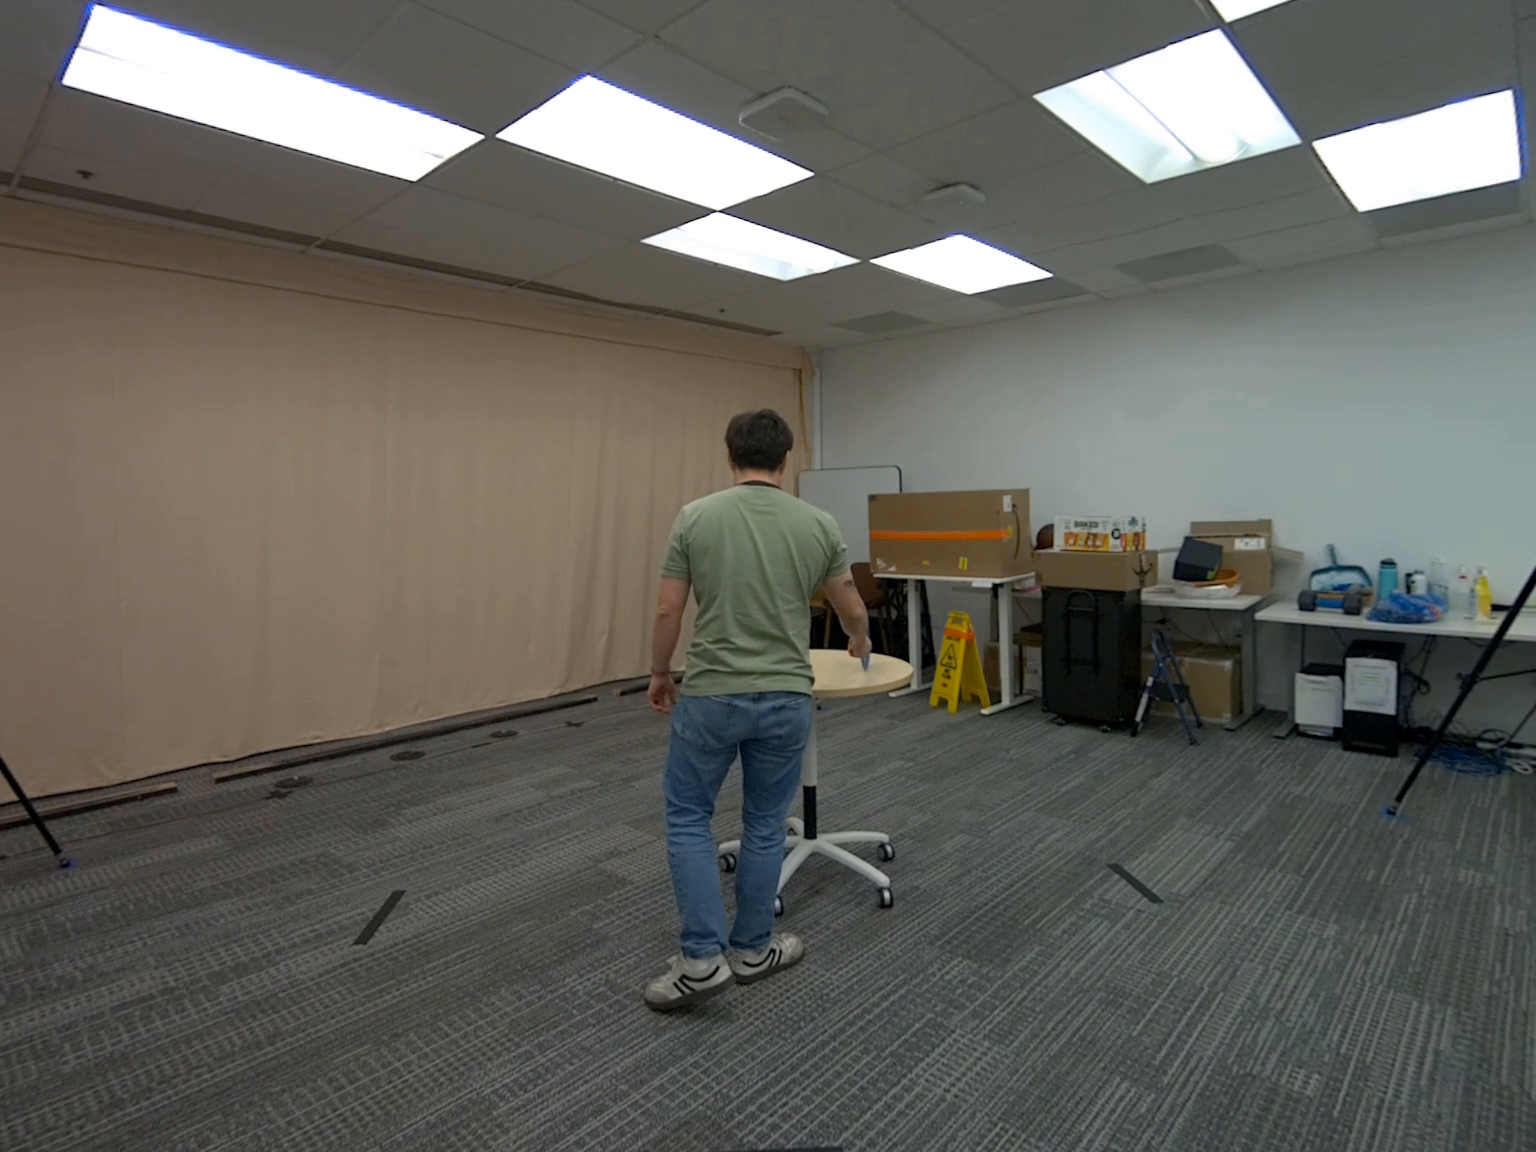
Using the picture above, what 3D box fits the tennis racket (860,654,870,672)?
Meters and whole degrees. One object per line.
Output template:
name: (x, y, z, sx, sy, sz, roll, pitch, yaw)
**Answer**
tennis racket: (0.338, 0.236, 2.990, 0.032, 0.214, 0.426, -2, 1, 13)
